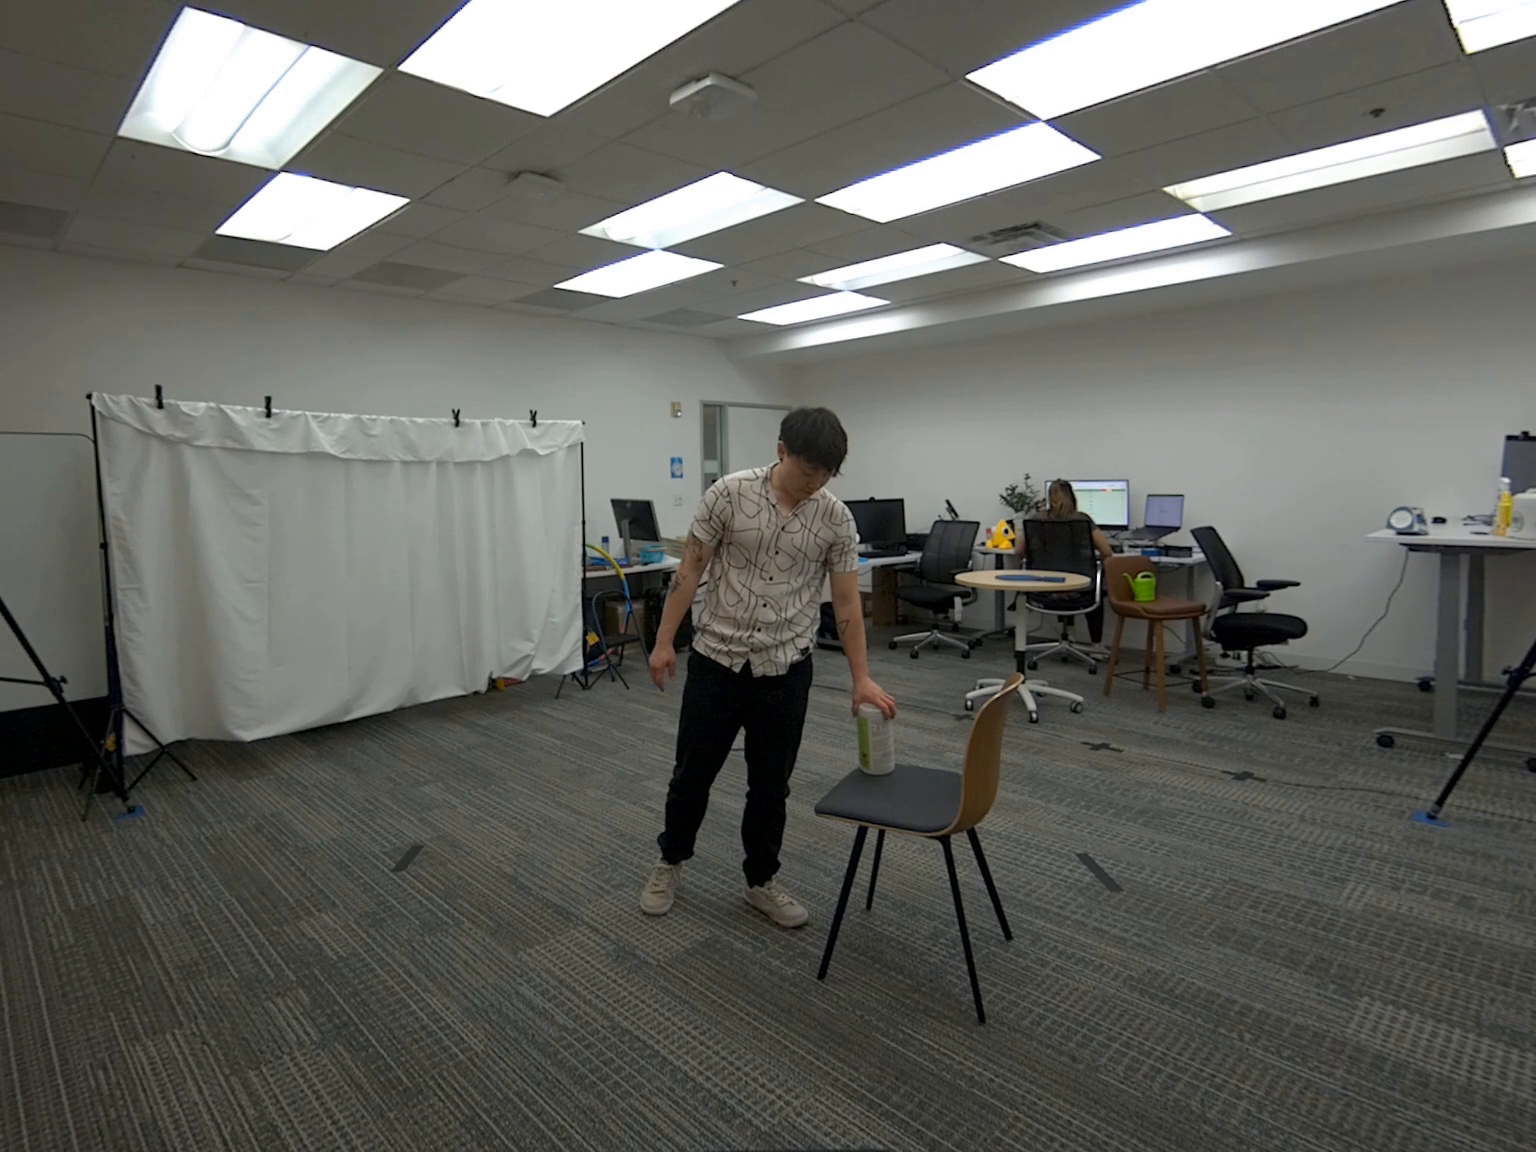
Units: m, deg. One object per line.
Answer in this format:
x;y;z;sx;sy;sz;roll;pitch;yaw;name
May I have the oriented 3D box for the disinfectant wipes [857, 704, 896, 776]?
0.335;0.492;2.641;0.118;0.215;0.119;-4;9;-1;disinfectant wipes
